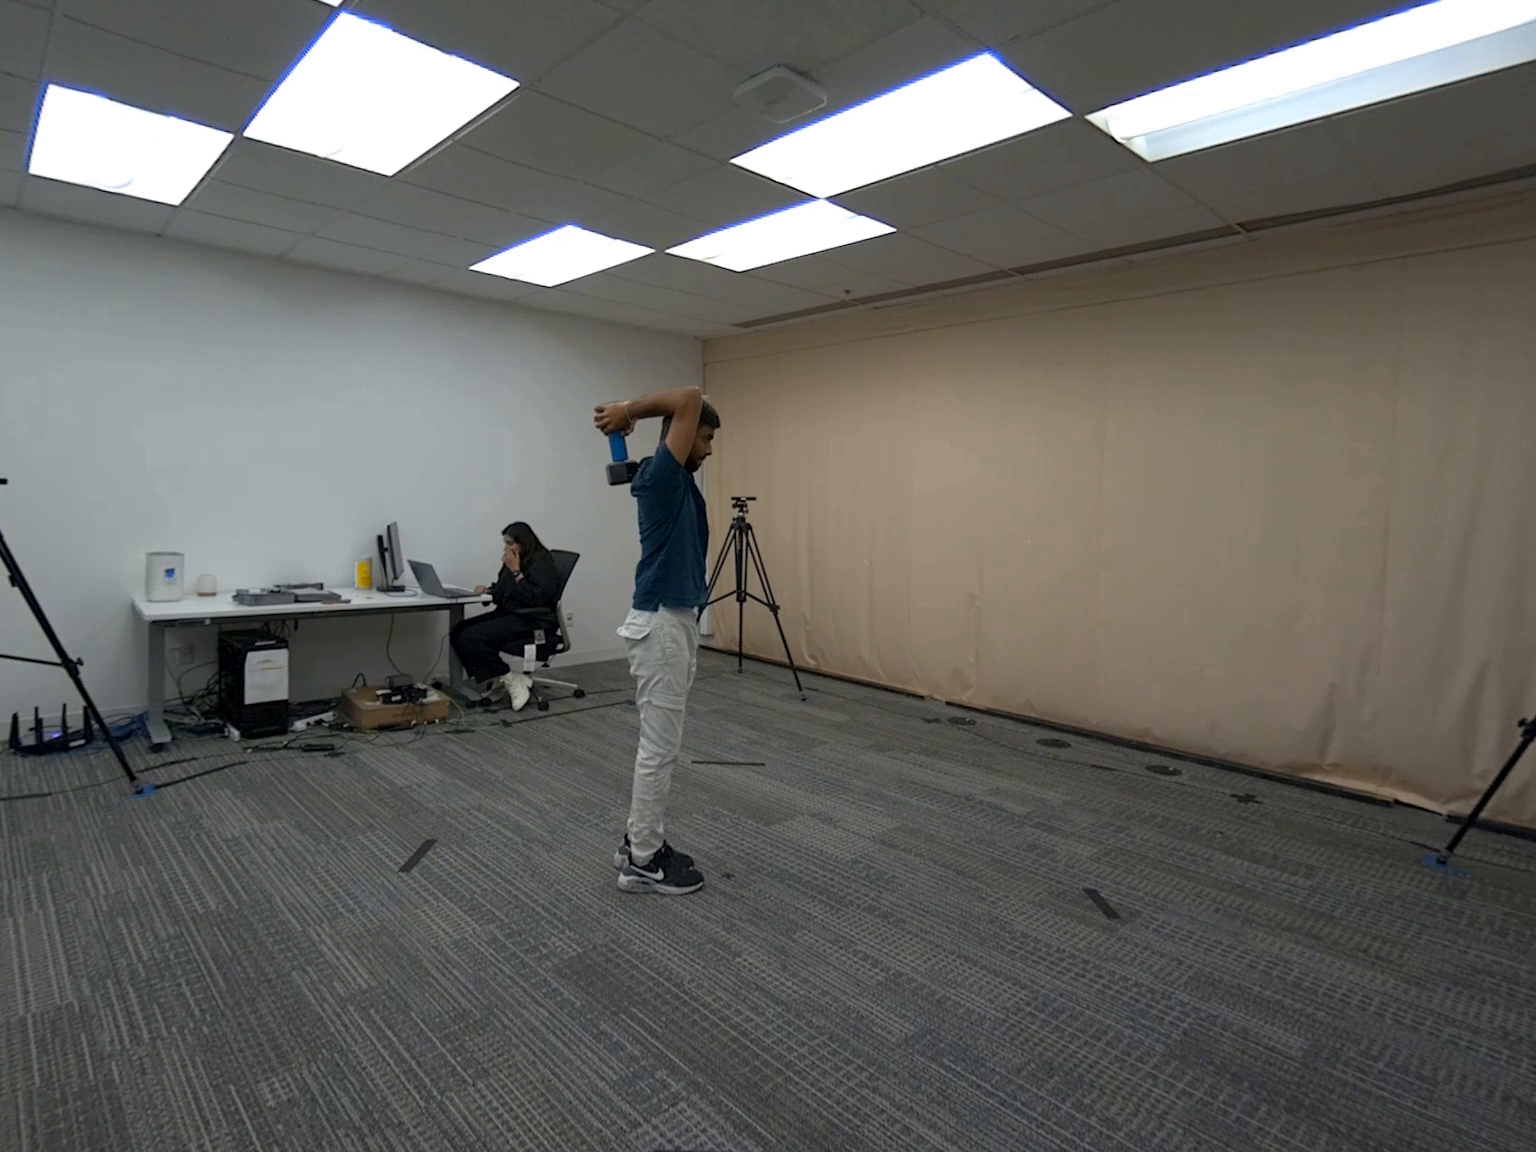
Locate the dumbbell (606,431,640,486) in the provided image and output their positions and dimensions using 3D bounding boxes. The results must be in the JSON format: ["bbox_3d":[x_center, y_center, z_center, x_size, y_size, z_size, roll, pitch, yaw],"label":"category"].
[{"bbox_3d":[-0.547,-0.475,3.011,0.124,0.291,0.109,-8,9,9],"label":"dumbbell"}]
